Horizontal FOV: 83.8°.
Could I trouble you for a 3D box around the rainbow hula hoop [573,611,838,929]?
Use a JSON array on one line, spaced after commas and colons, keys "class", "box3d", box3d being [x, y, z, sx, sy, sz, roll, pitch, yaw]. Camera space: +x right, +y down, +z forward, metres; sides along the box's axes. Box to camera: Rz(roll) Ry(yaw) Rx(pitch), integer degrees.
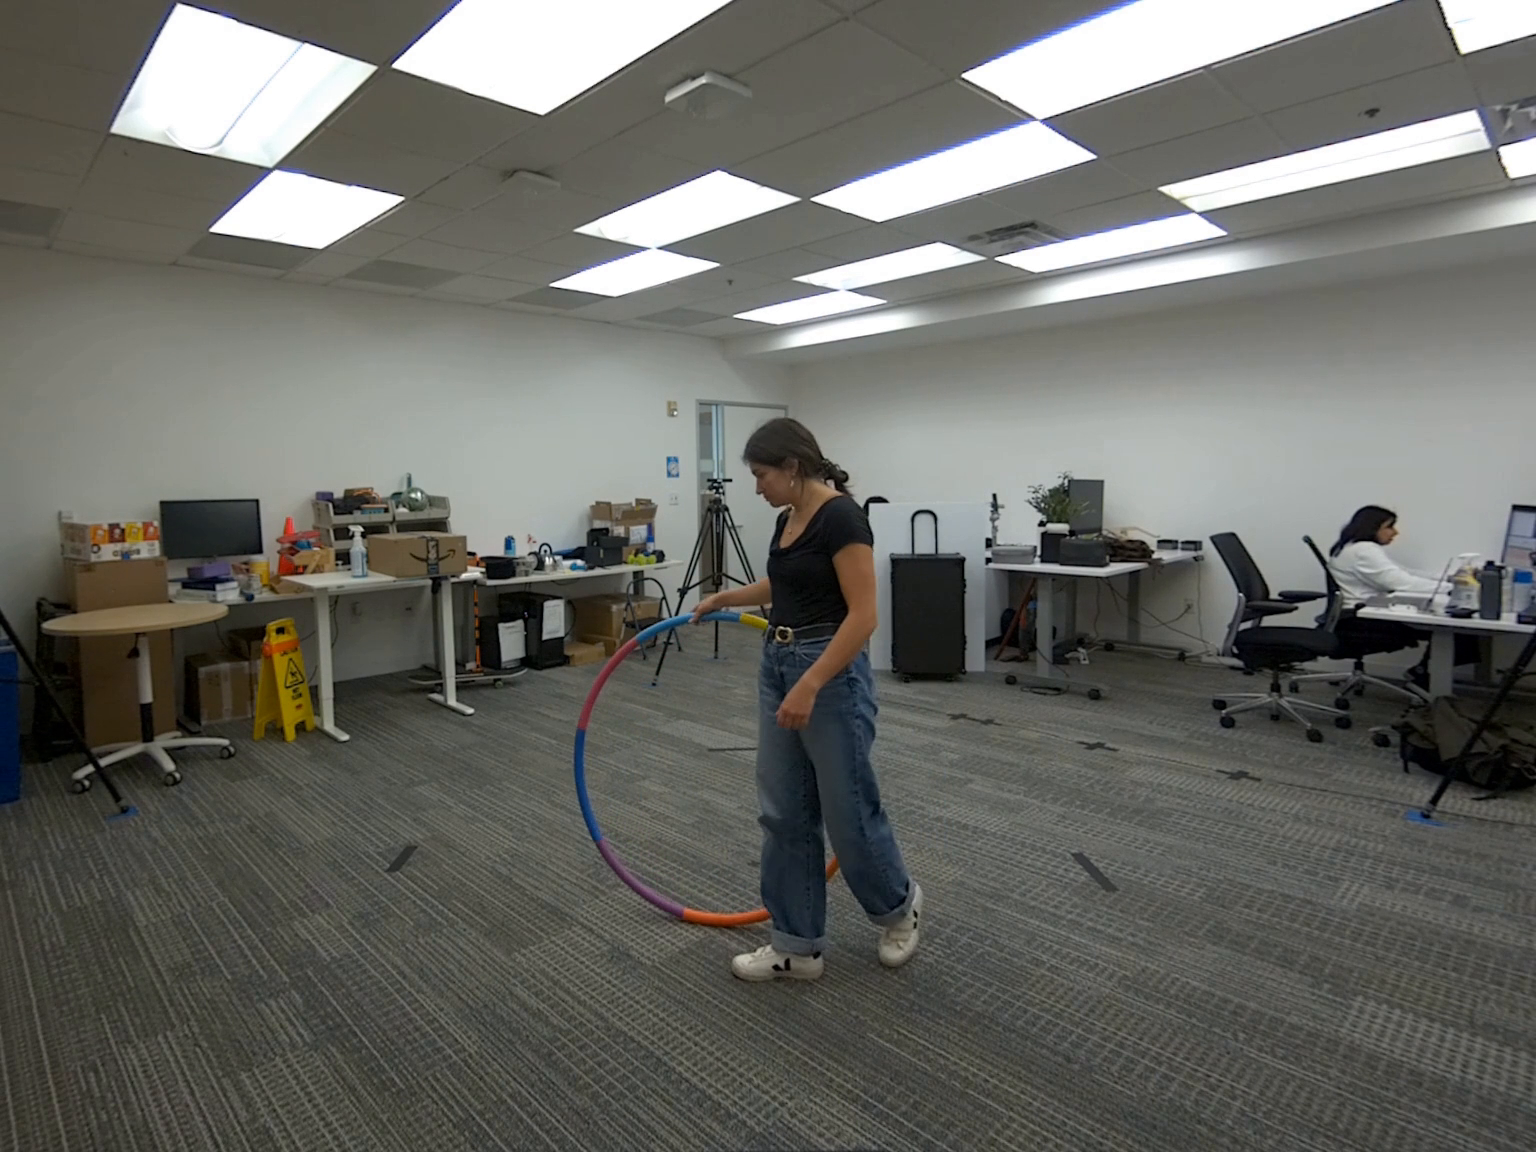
[{"class": "rainbow hula hoop", "box3d": [-0.174, 0.609, 2.768, 0.992, 0.986, 0.035, 0, -9, 14]}]
